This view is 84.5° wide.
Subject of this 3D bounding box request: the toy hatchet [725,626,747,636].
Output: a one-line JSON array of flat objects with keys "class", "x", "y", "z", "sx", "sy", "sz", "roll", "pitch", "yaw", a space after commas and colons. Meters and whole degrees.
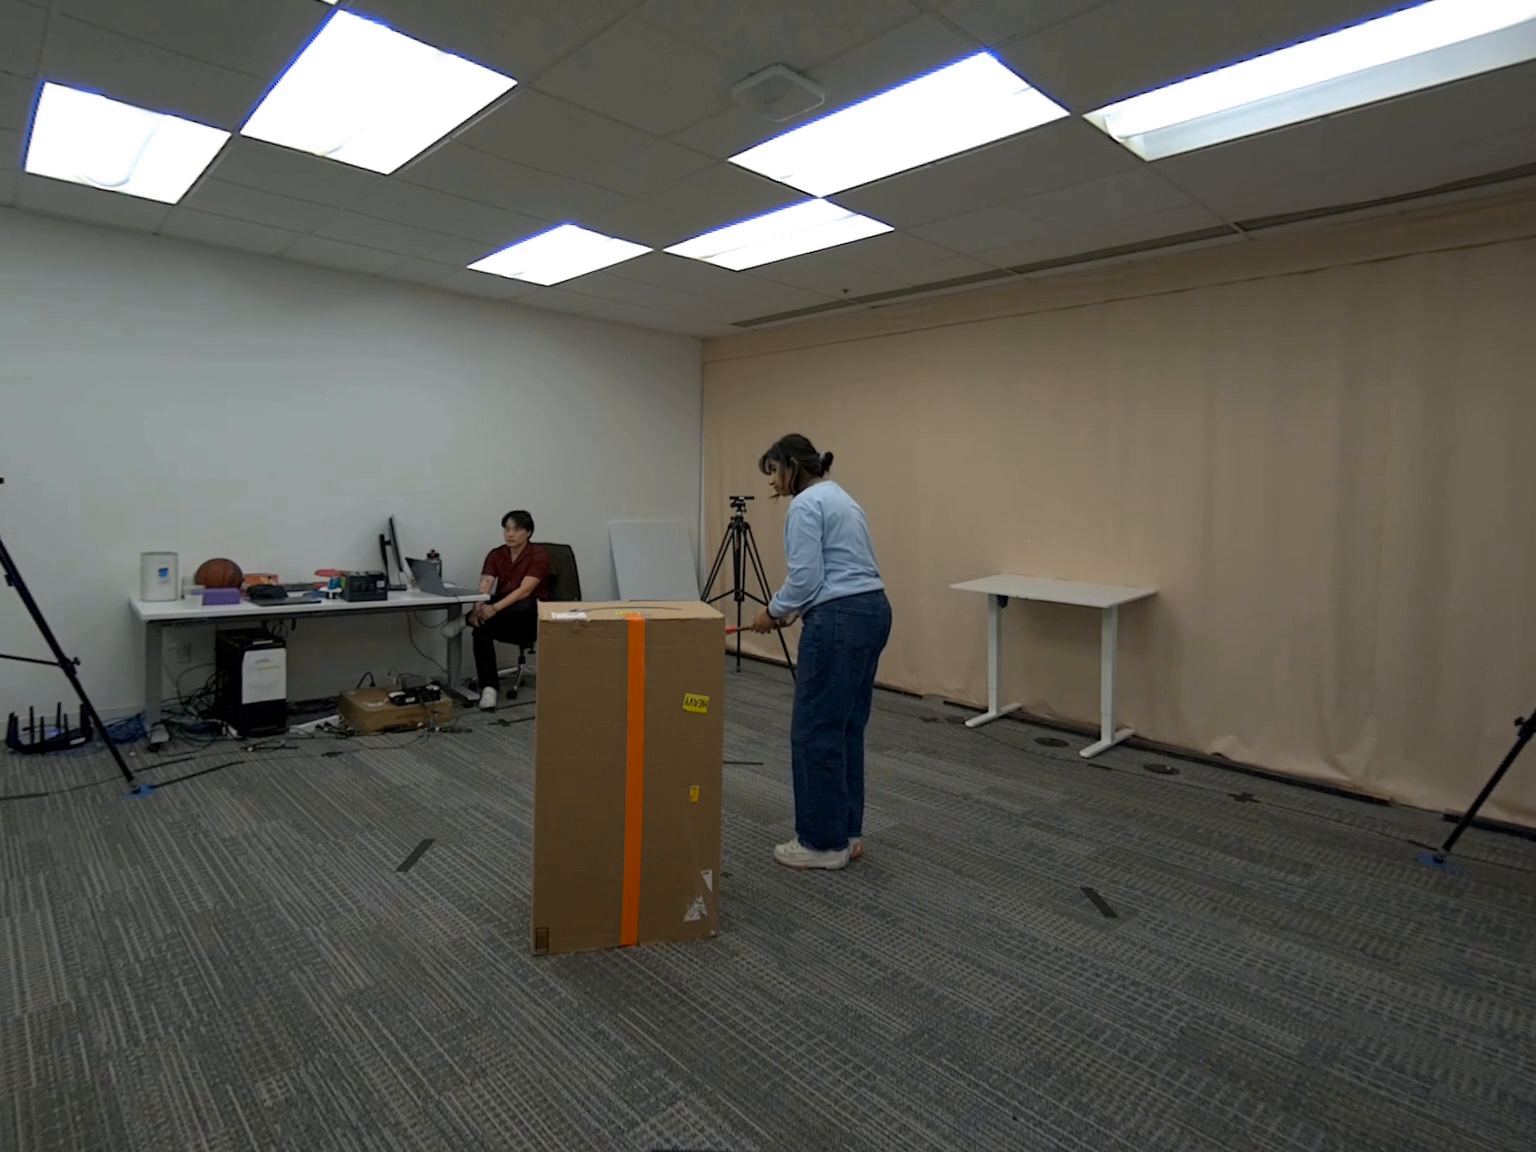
[{"class": "toy hatchet", "x": -0.082, "y": 0.221, "z": 3.435, "sx": 0.273, "sy": 0.030, "sz": 0.128, "roll": -9, "pitch": -11, "yaw": 17}]
